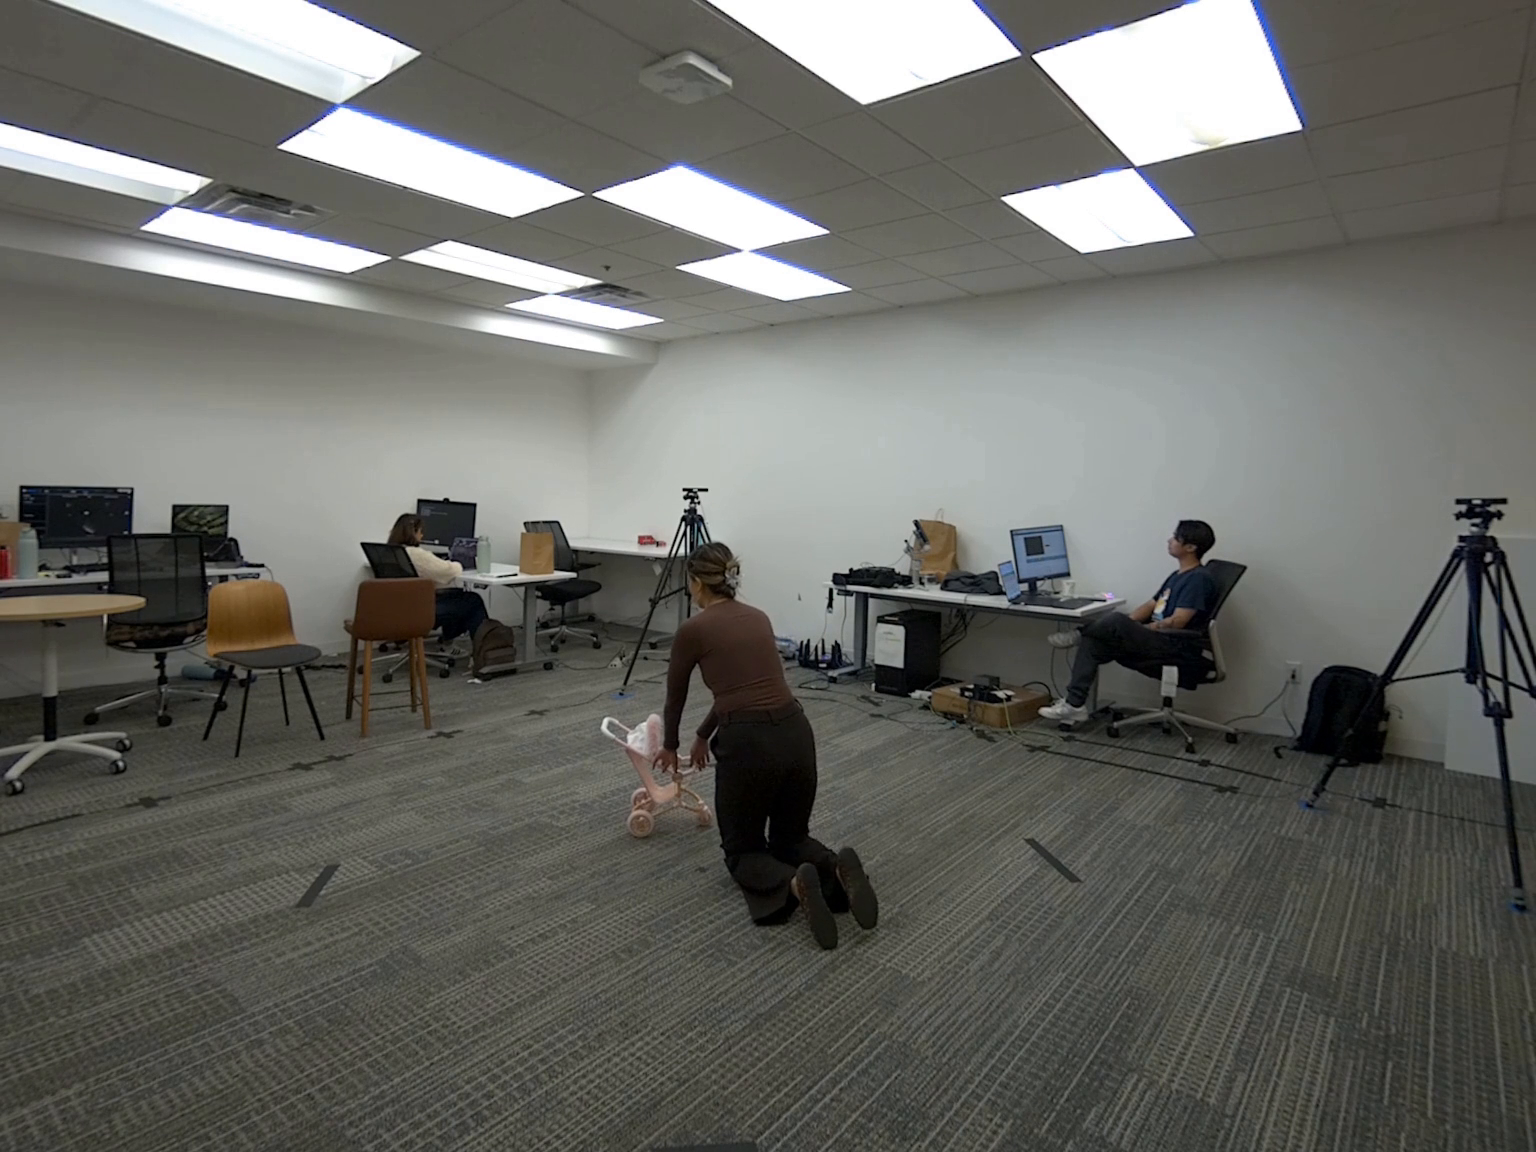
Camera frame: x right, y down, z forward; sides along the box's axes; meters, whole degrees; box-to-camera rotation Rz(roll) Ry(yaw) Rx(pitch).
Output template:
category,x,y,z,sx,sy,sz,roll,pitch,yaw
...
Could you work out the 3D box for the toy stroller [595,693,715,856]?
category,x,y,z,sx,sy,sz,roll,pitch,yaw
toy stroller,-0.460,0.802,3.493,0.342,0.533,0.282,-15,4,2
